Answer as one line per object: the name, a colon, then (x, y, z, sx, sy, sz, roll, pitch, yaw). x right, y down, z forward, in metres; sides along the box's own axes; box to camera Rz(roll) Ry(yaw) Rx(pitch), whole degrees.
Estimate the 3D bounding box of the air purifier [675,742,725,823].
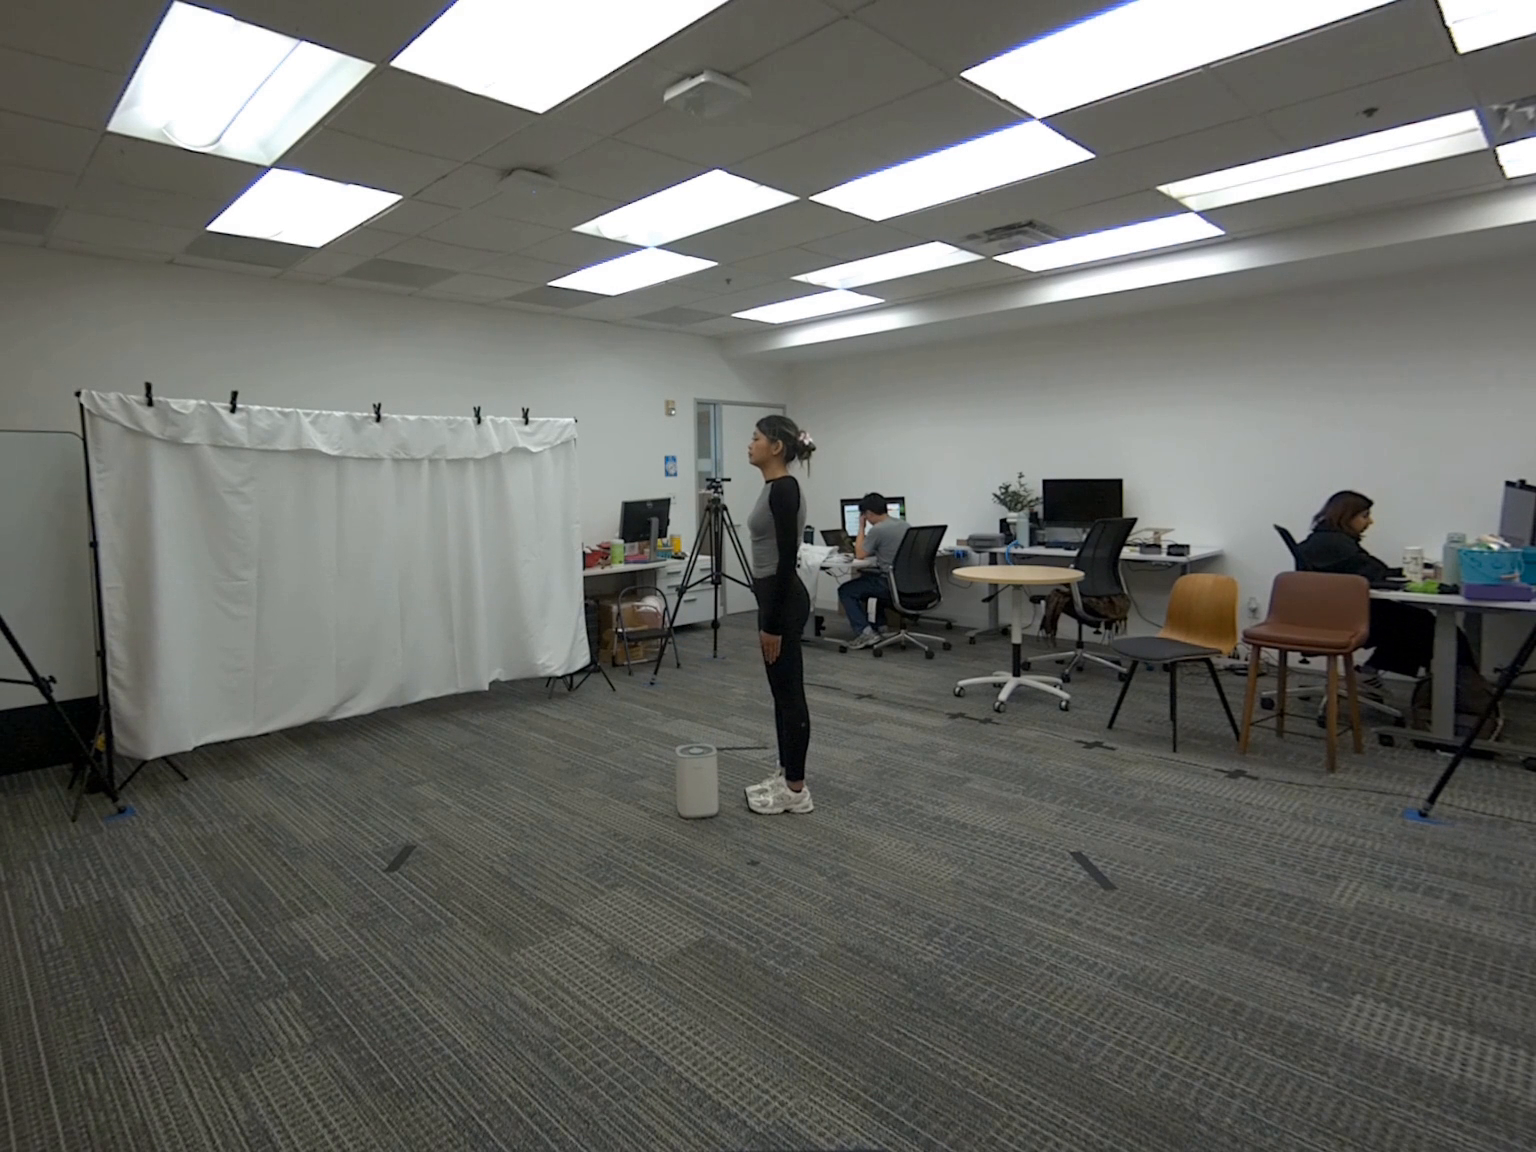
air purifier: (-0.289, 0.857, 3.582, 0.169, 0.264, 0.174, -3, 4, -10)
